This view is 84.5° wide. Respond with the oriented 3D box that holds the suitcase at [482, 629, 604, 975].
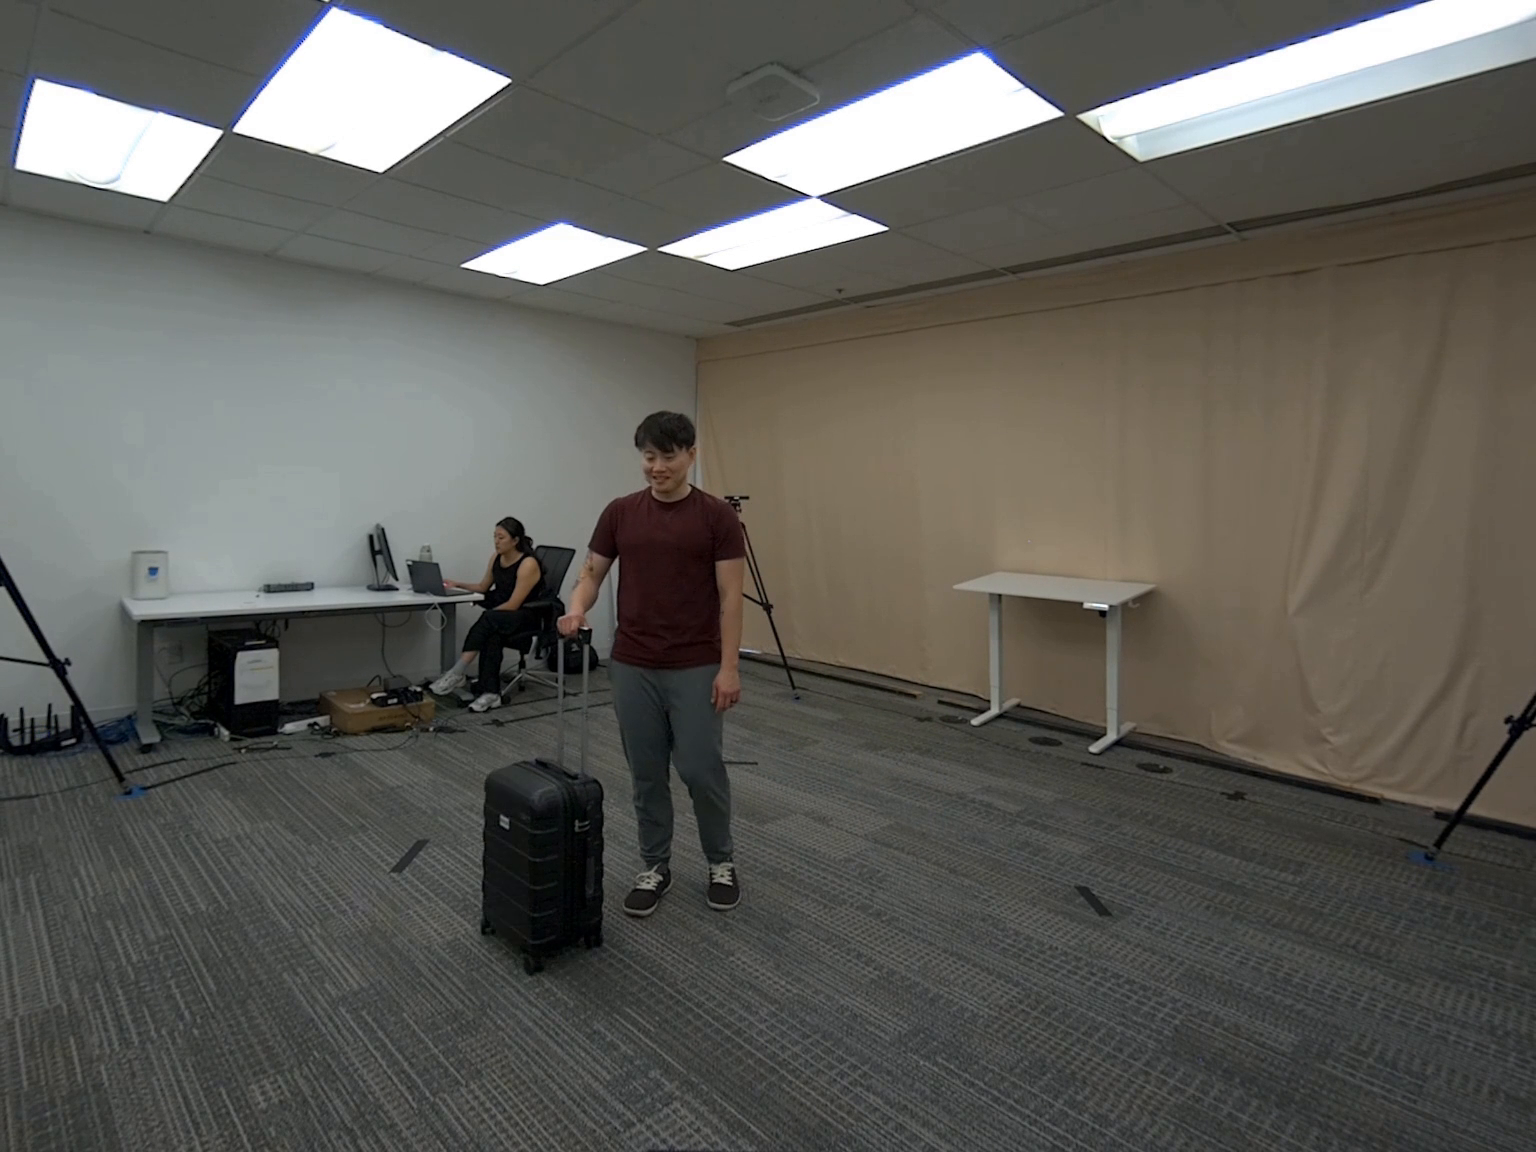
[{"bbox_3d":[-0.706,0.668,2.565,0.251,0.974,0.394,-5,8,-44],"label":"suitcase"}]
